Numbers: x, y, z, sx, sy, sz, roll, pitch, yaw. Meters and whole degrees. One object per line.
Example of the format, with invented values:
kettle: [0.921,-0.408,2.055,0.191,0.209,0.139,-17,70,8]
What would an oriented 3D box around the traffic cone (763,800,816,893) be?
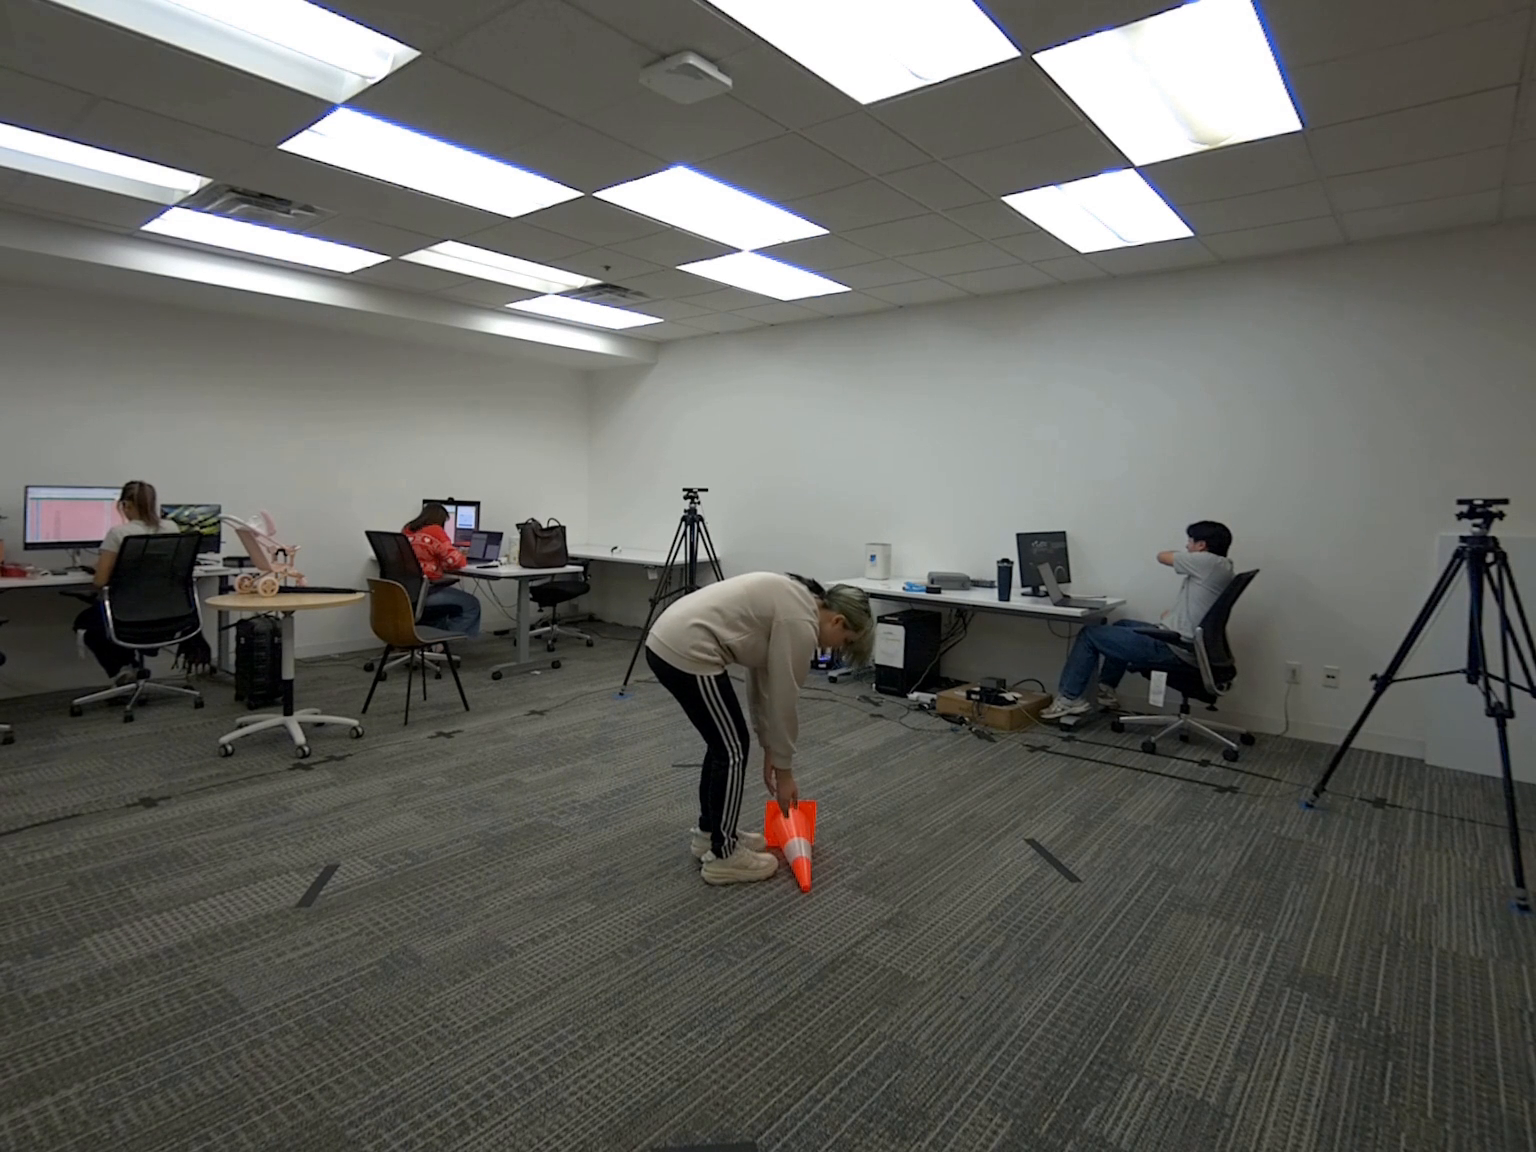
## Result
traffic cone: [0.103,1.023,3.126,0.203,0.200,0.393,-3,17,-10]
